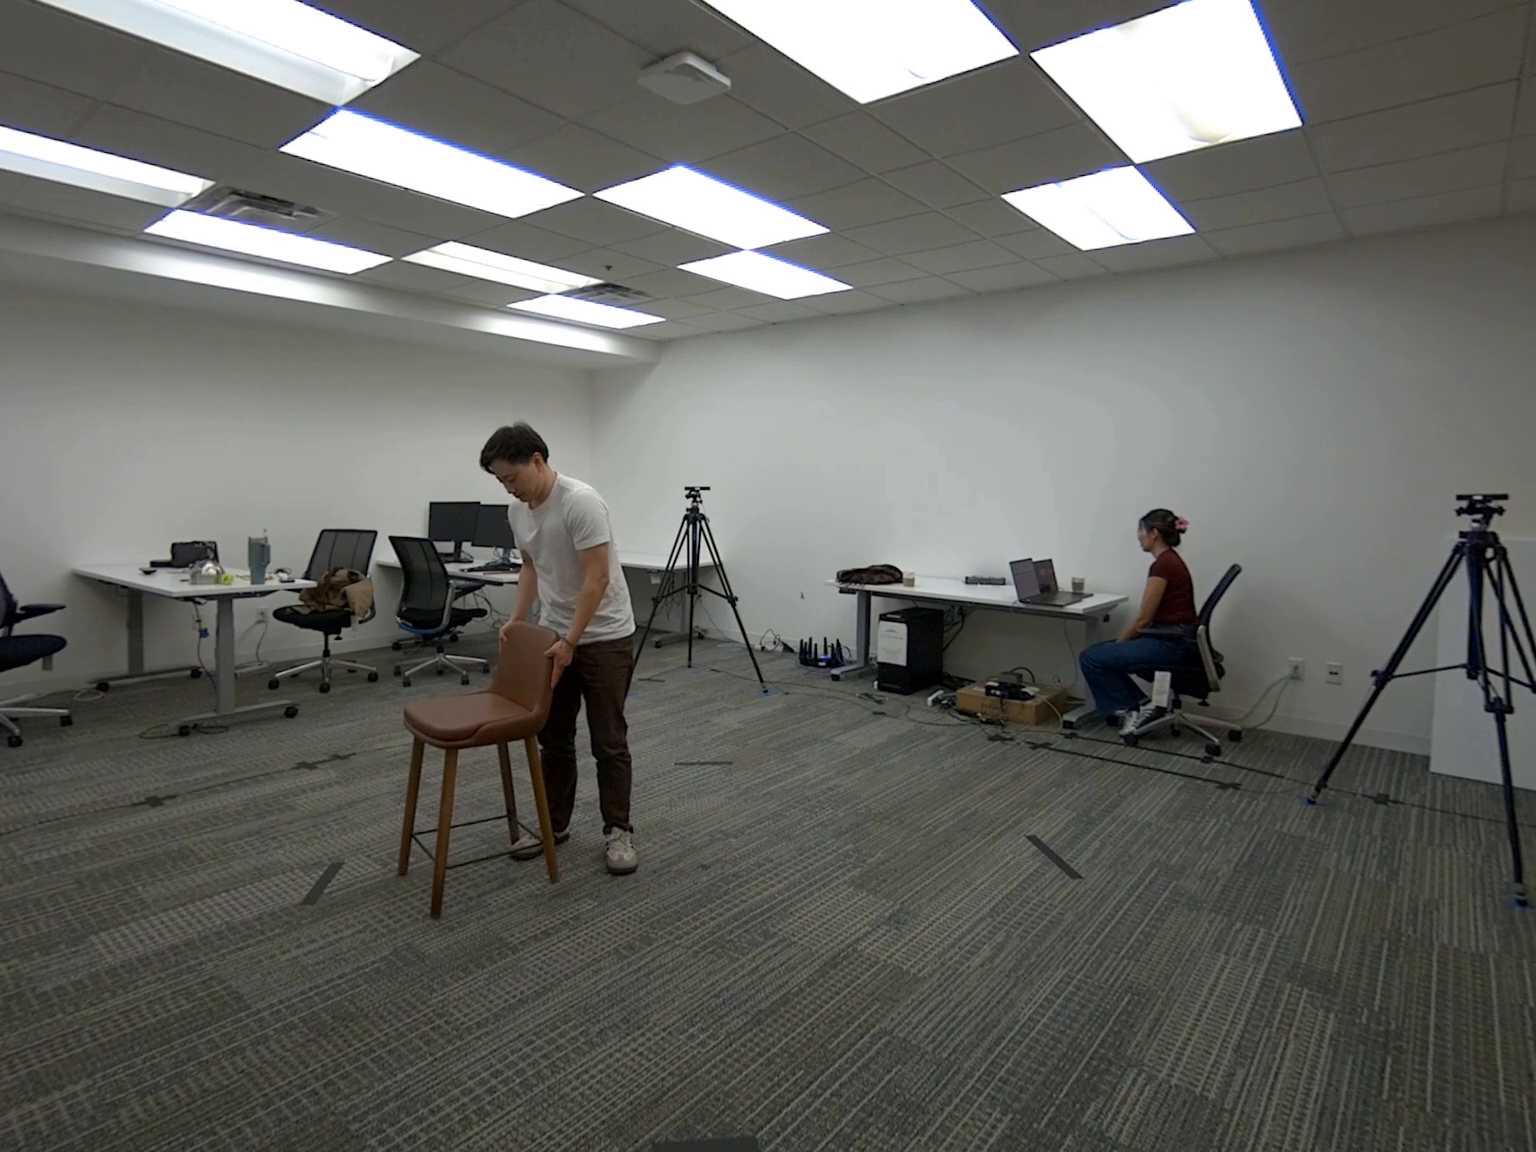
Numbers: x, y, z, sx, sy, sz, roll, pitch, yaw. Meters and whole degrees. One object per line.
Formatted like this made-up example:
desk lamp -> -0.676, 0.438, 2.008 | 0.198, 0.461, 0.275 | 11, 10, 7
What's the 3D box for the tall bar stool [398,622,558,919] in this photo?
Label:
tall bar stool -> -1.022, 0.631, 2.984 | 0.453, 0.888, 0.471 | 1, 2, -38
